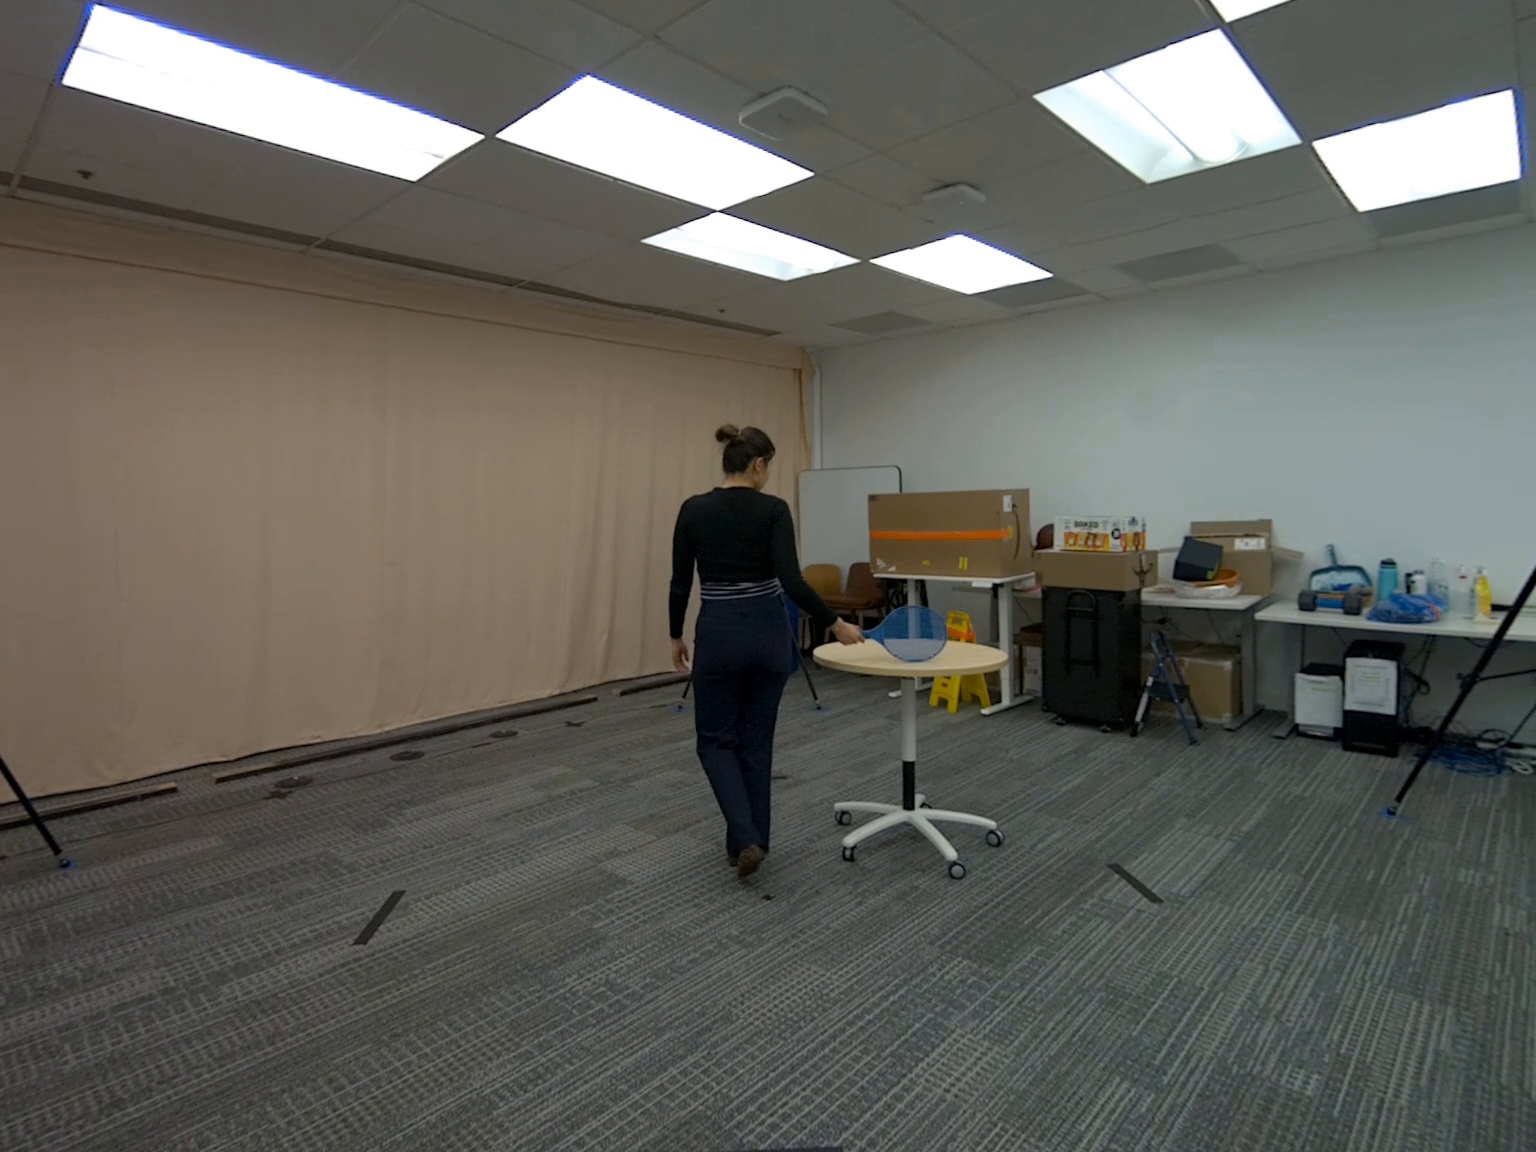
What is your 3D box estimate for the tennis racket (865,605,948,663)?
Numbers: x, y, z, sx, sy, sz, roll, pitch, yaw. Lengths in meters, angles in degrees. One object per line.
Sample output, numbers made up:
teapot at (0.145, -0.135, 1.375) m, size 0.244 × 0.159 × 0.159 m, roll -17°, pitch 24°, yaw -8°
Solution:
tennis racket at (0.481, 0.223, 3.180) m, size 0.435 × 0.213 × 0.031 m, roll -3°, pitch 3°, yaw 4°
